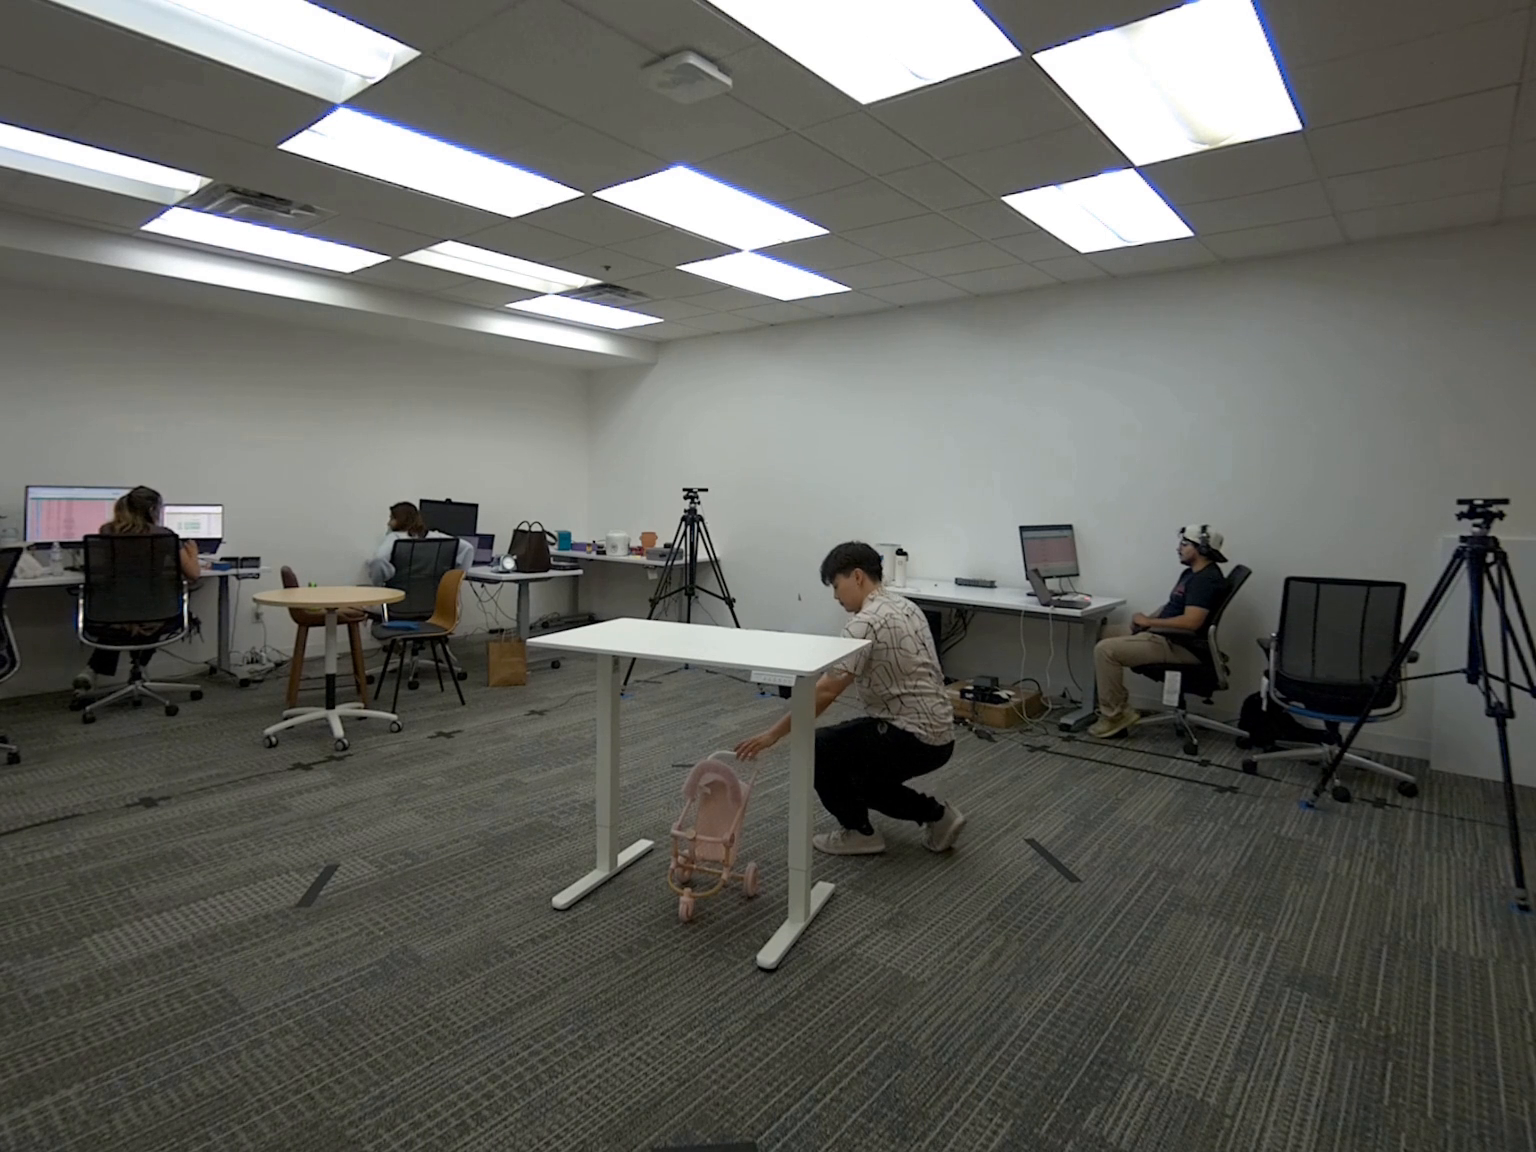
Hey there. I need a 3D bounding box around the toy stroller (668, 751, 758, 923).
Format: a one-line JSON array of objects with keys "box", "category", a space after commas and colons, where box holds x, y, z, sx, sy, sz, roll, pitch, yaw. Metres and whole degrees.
[{"box": [-0.203, 0.861, 2.899, 0.289, 0.540, 0.329, 3, -12, 26], "category": "toy stroller"}]
